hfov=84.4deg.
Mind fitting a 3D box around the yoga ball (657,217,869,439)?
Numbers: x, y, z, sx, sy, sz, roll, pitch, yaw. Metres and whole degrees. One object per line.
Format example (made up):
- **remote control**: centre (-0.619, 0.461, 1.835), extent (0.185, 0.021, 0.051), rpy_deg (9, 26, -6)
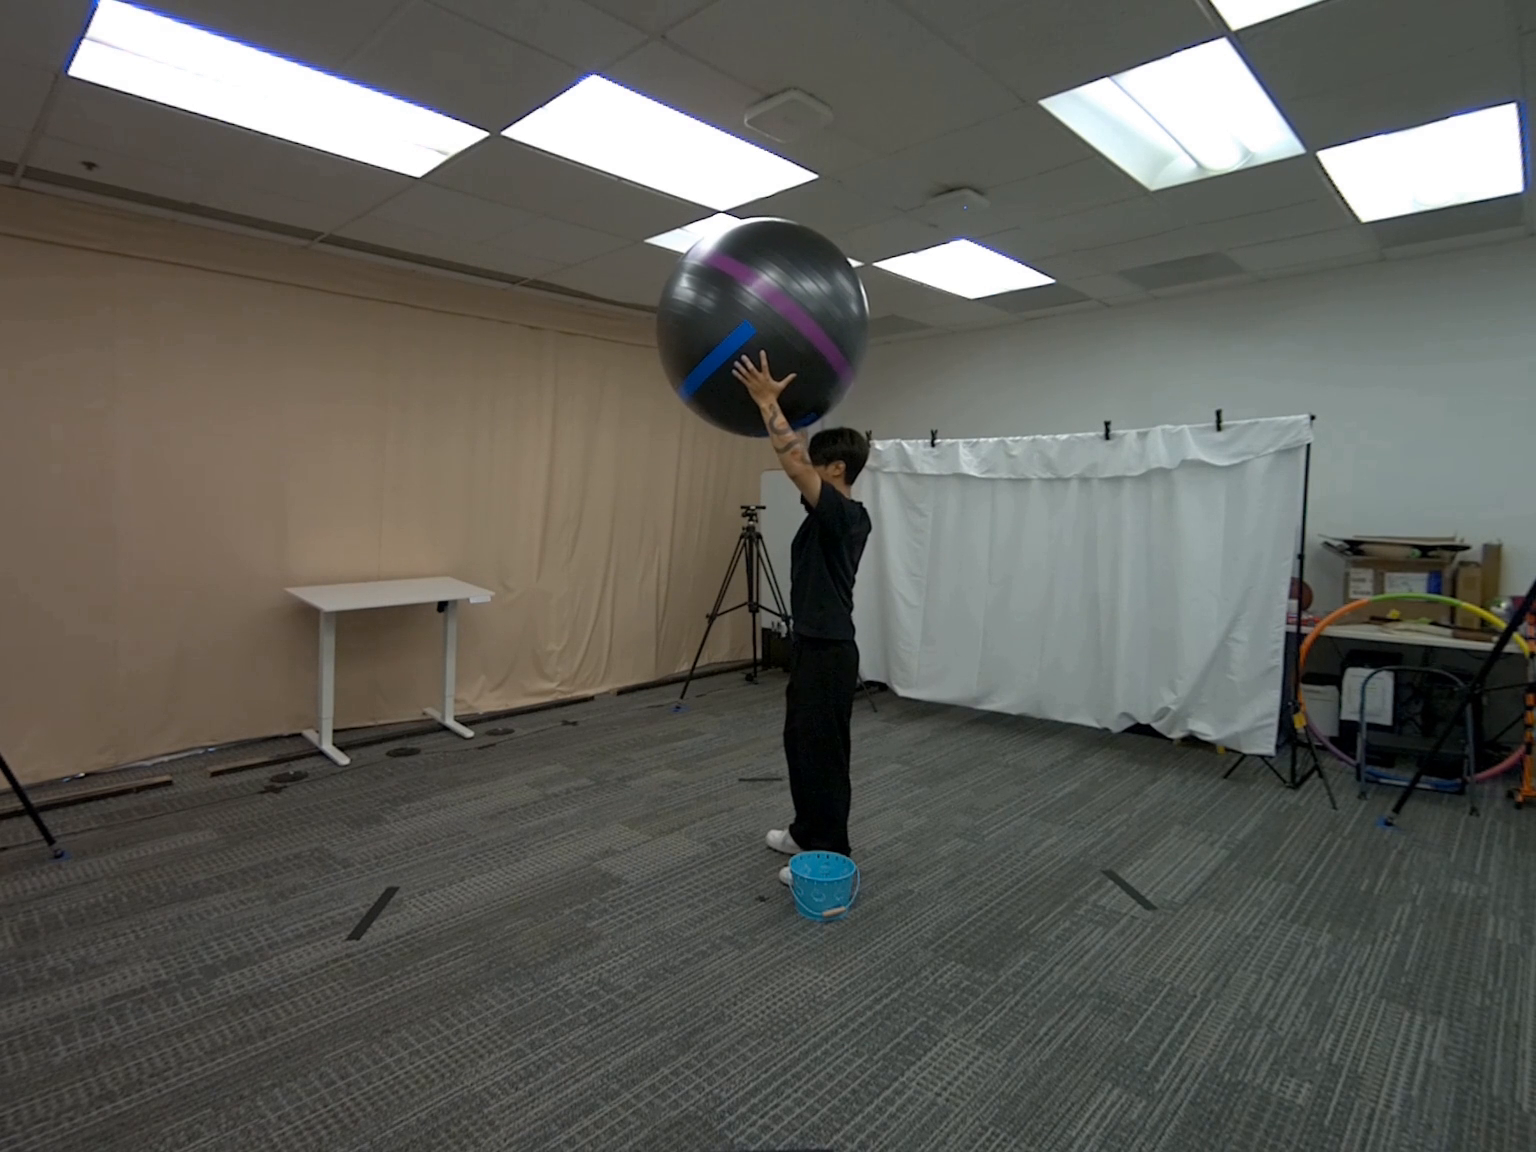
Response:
- **yoga ball**: centre (-0.019, -0.880, 3.036), extent (0.757, 0.756, 0.760), rpy_deg (0, 4, -2)
